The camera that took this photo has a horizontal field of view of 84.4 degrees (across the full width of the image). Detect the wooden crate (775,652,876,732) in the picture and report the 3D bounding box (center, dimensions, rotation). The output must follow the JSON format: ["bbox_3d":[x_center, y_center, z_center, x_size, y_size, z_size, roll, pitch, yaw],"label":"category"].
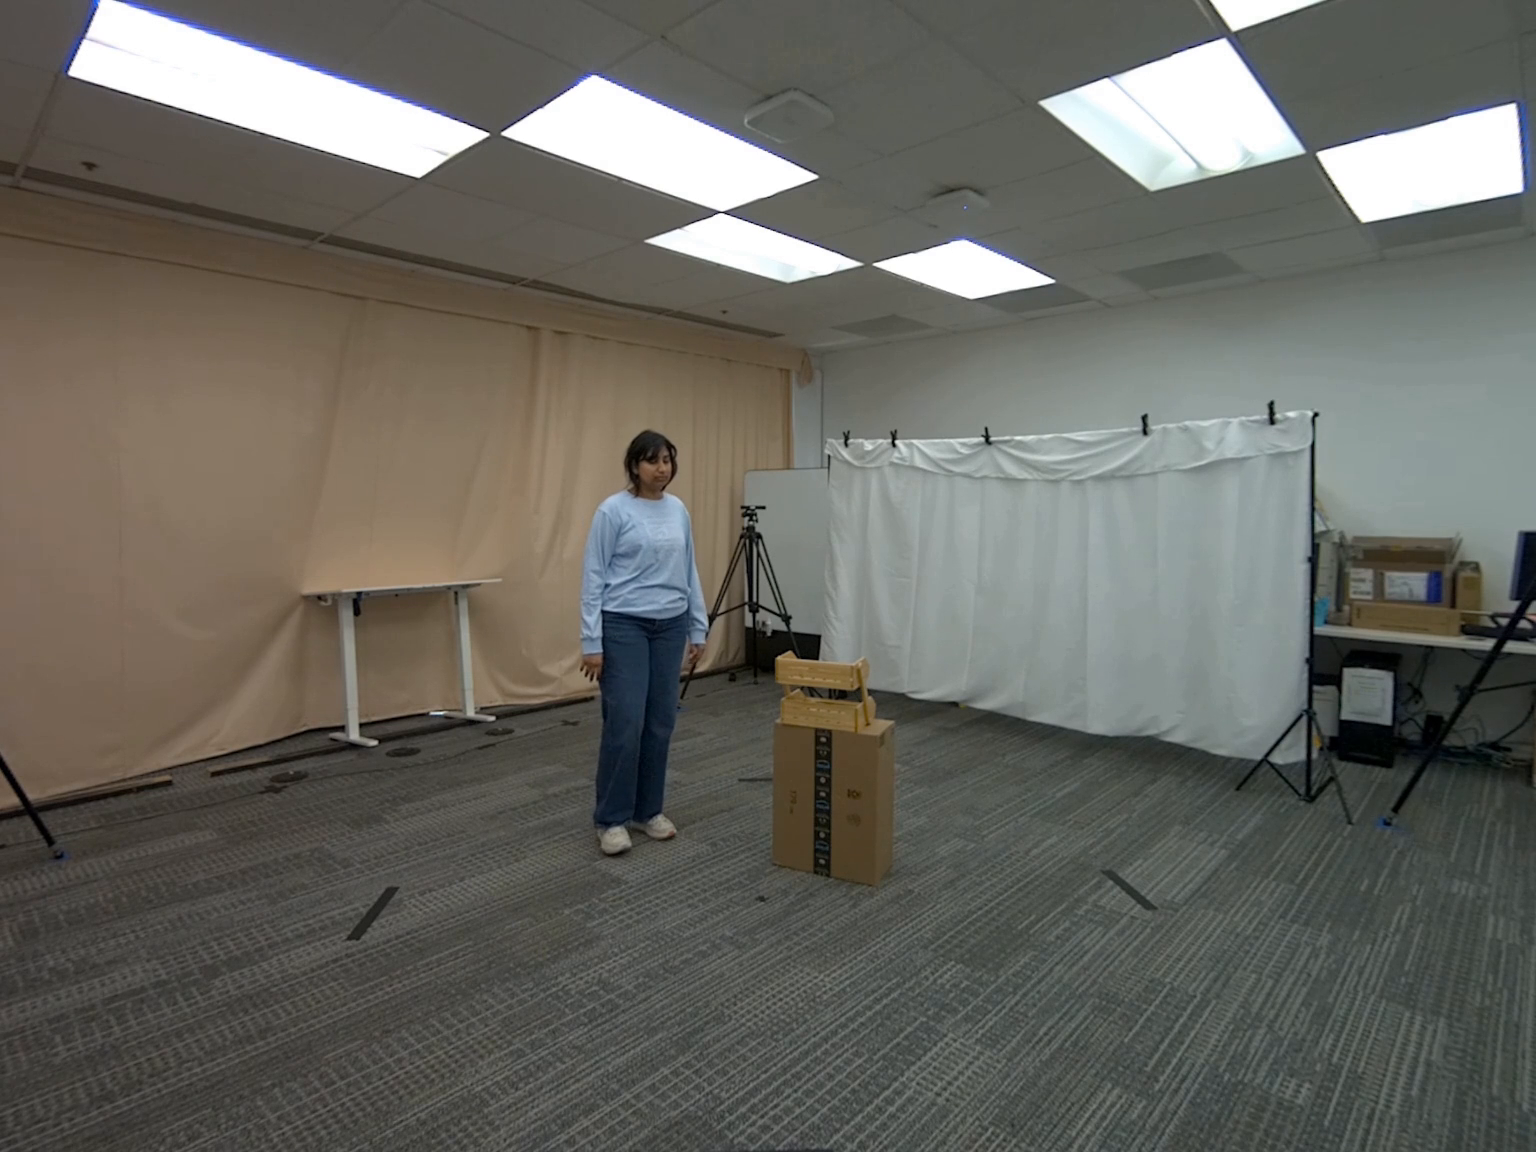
[{"bbox_3d":[0.231,0.426,3.222,0.332,0.272,0.296,2,6,24],"label":"wooden crate"}]
